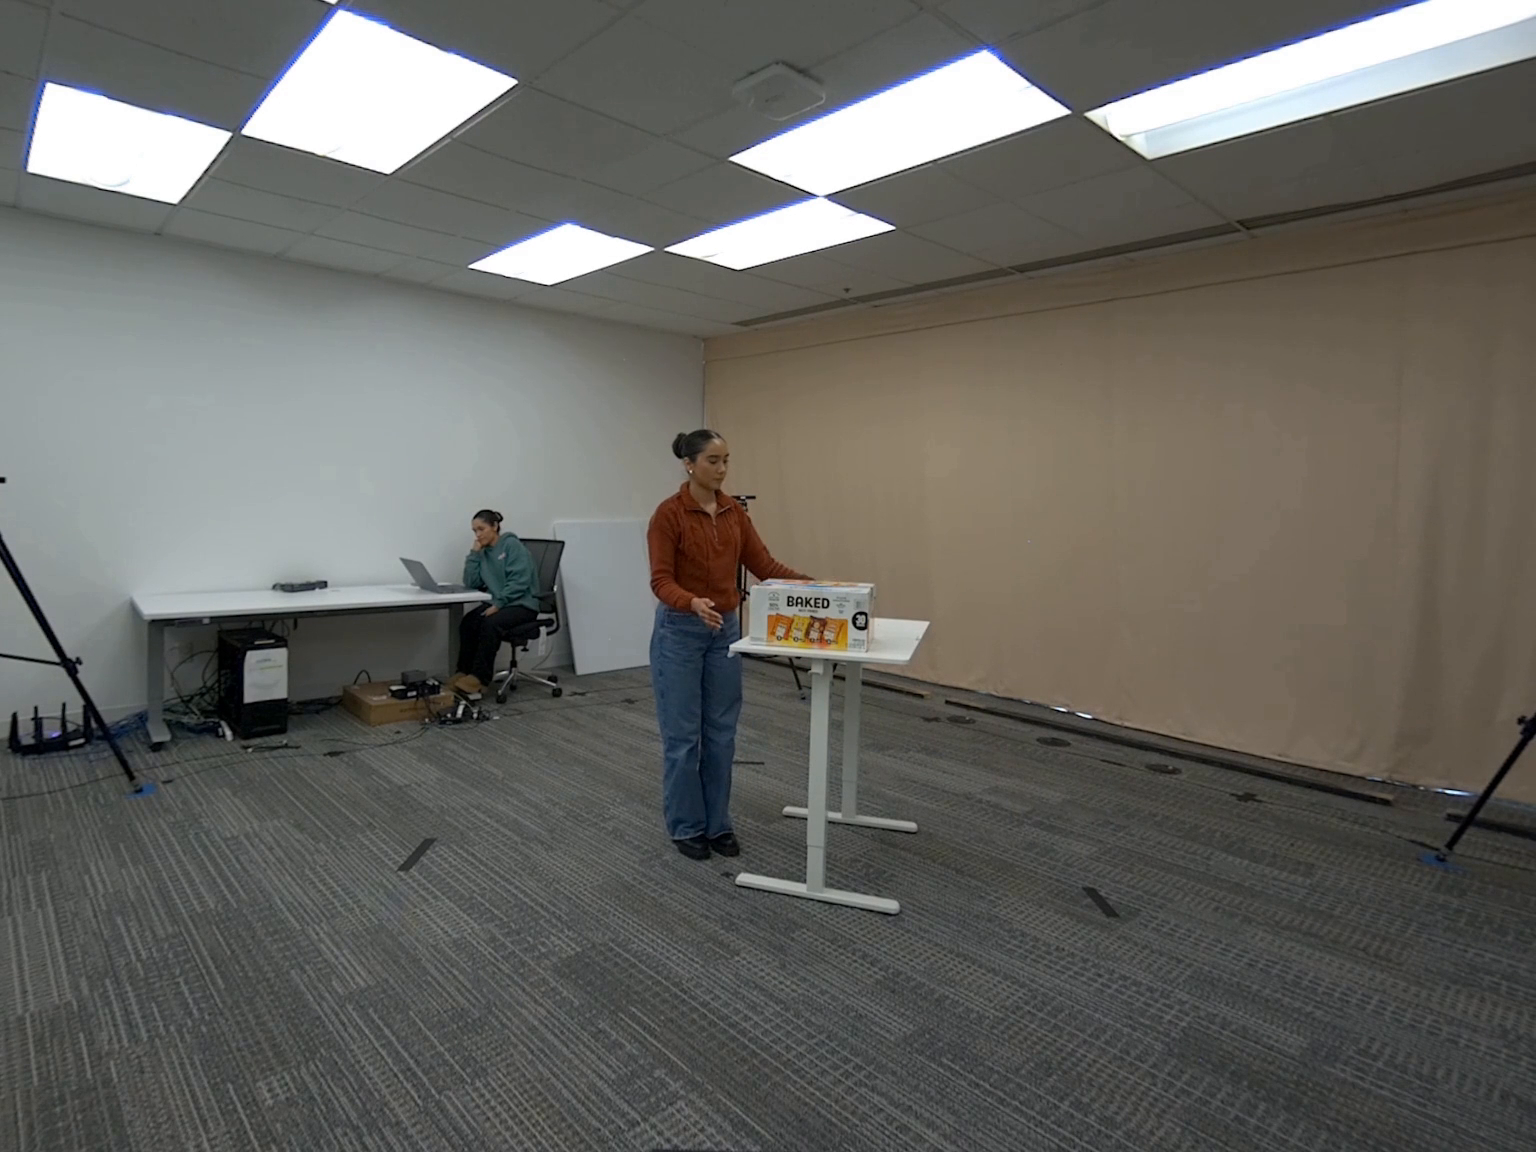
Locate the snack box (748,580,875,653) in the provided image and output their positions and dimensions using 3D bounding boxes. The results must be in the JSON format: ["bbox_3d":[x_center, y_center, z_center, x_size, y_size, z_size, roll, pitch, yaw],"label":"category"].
[{"bbox_3d":[0.162,0.133,3.013,0.409,0.205,0.337,2,3,12],"label":"snack box"}]
